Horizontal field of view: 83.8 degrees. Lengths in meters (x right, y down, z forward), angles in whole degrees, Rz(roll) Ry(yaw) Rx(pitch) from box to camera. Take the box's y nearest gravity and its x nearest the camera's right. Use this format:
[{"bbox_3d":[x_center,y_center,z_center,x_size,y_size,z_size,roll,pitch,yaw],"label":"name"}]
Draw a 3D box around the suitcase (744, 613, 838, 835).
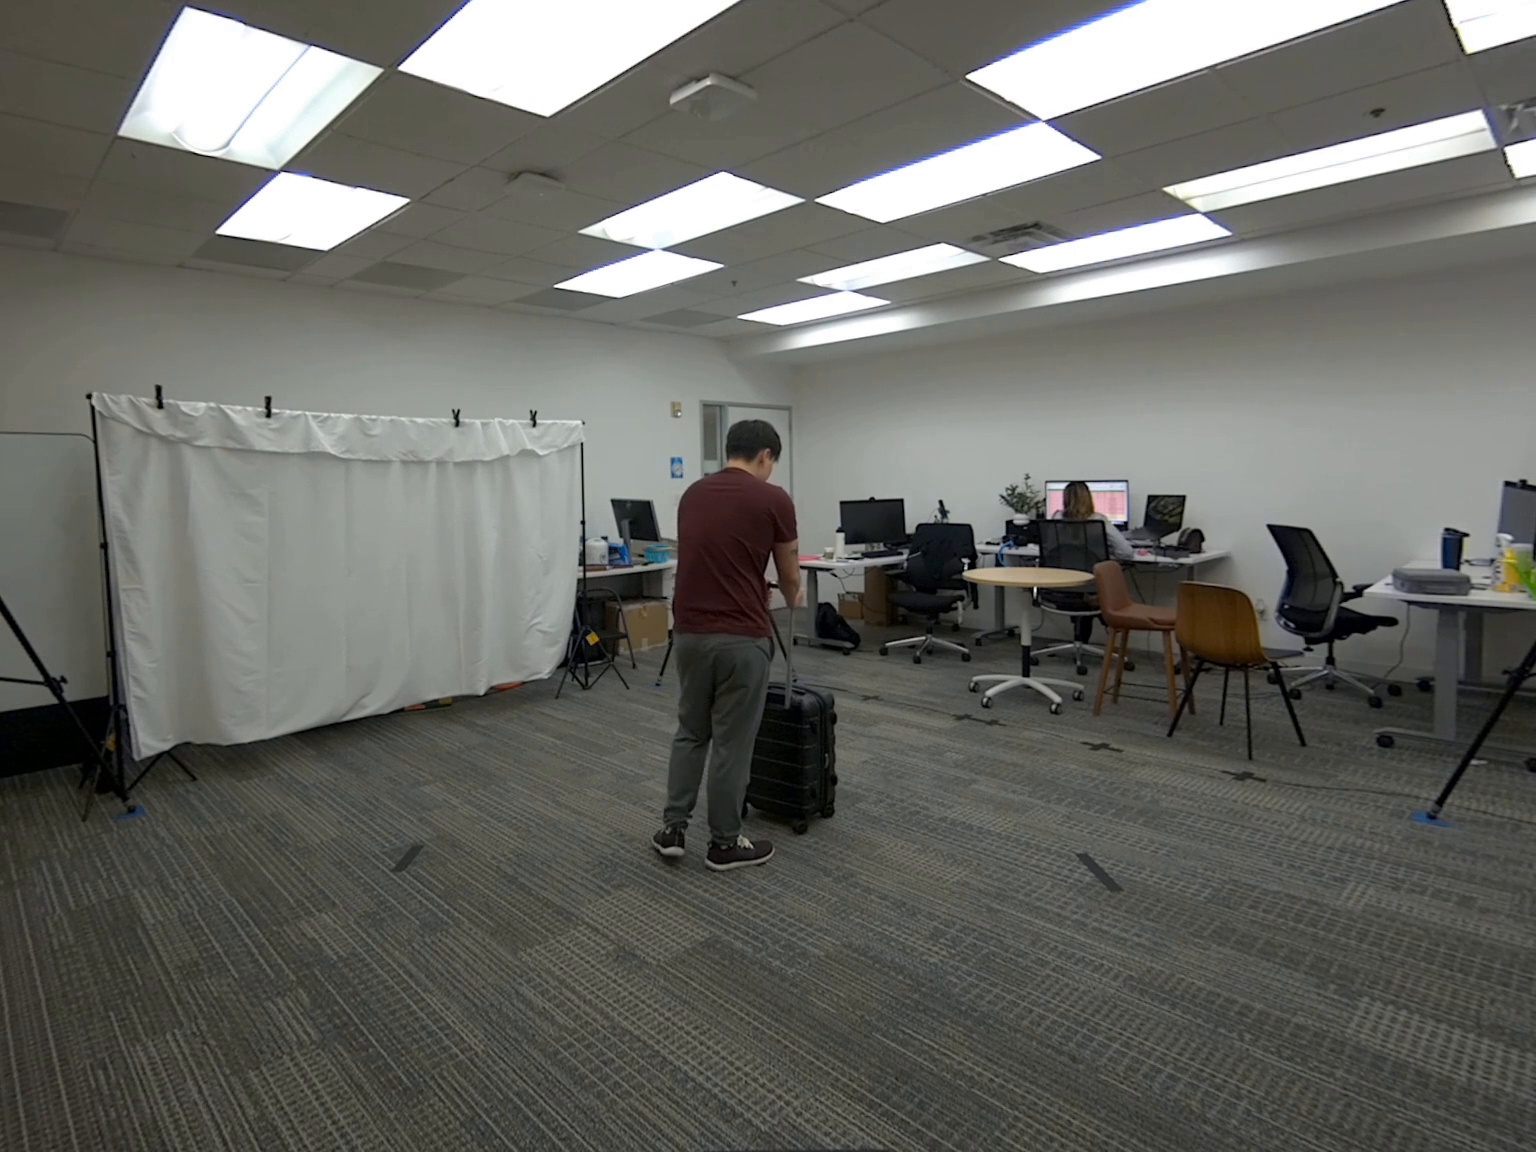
[{"bbox_3d":[0.090,0.522,3.547,0.395,0.978,0.250,2,0,36],"label":"suitcase"}]
